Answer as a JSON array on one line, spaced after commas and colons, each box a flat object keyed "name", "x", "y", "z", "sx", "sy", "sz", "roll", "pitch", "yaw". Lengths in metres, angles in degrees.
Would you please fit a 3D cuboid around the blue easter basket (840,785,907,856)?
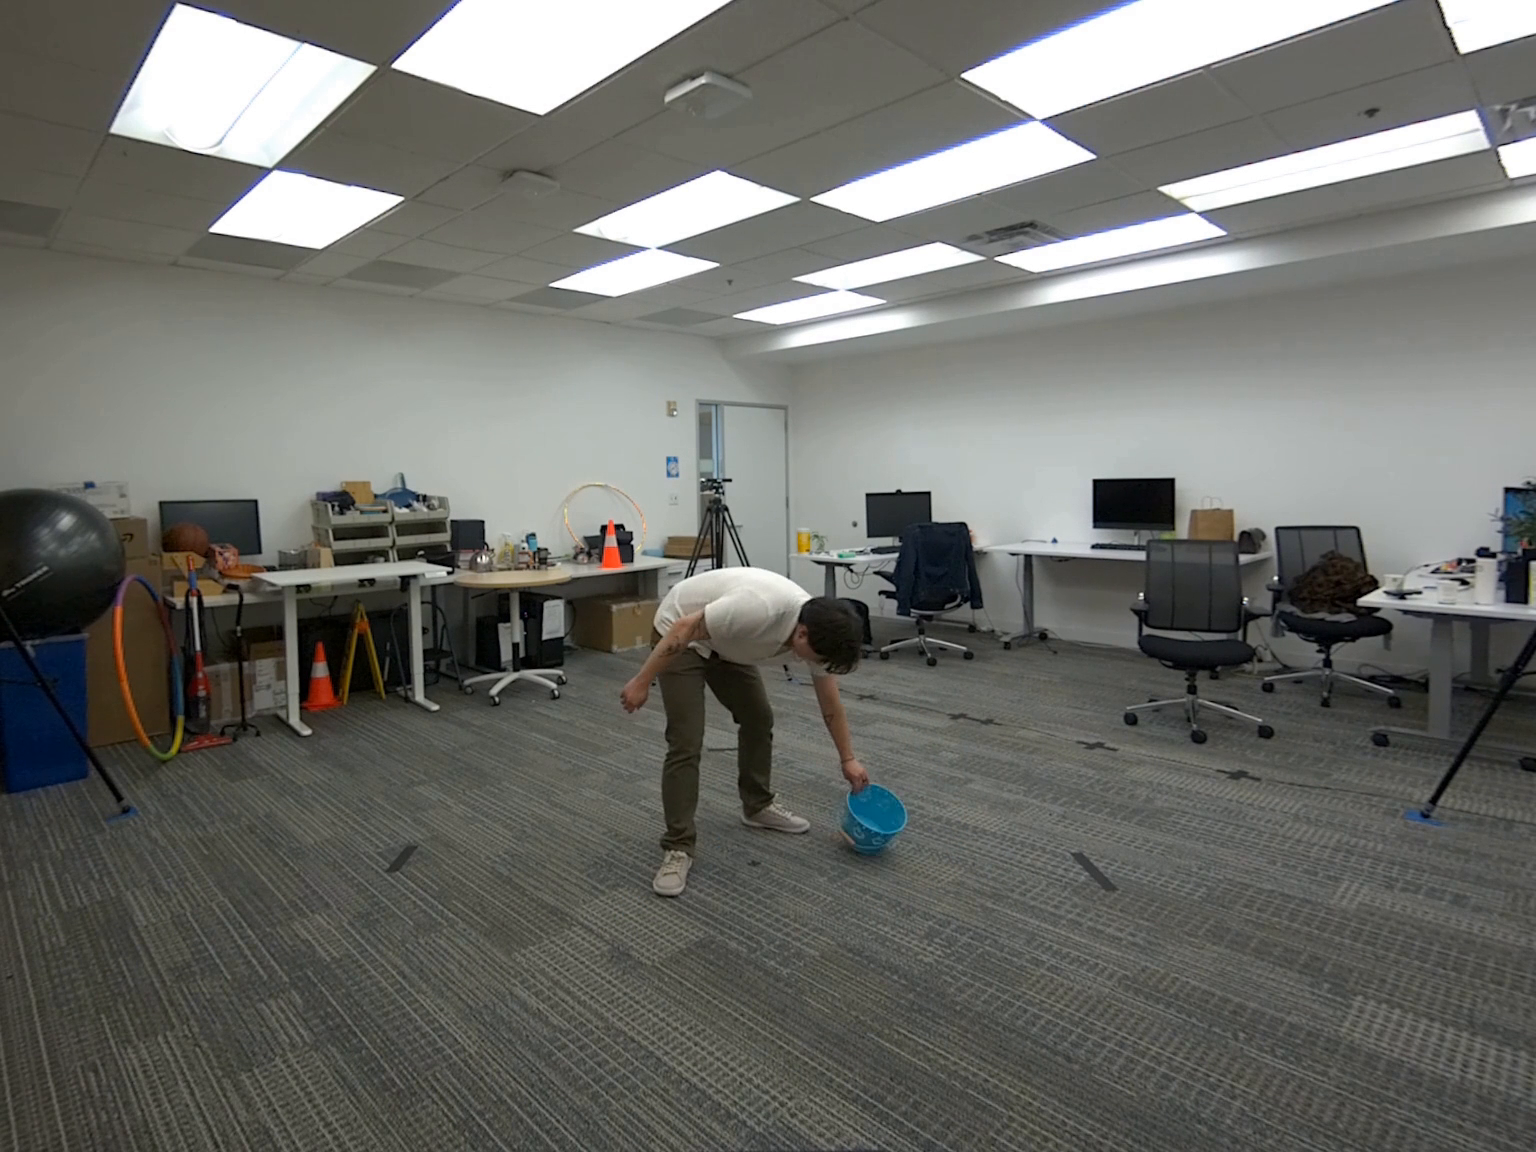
[{"name": "blue easter basket", "x": 0.378, "y": 0.909, "z": 3.194, "sx": 0.242, "sy": 0.153, "sz": 0.249, "roll": 9, "pitch": 28, "yaw": -7}]
